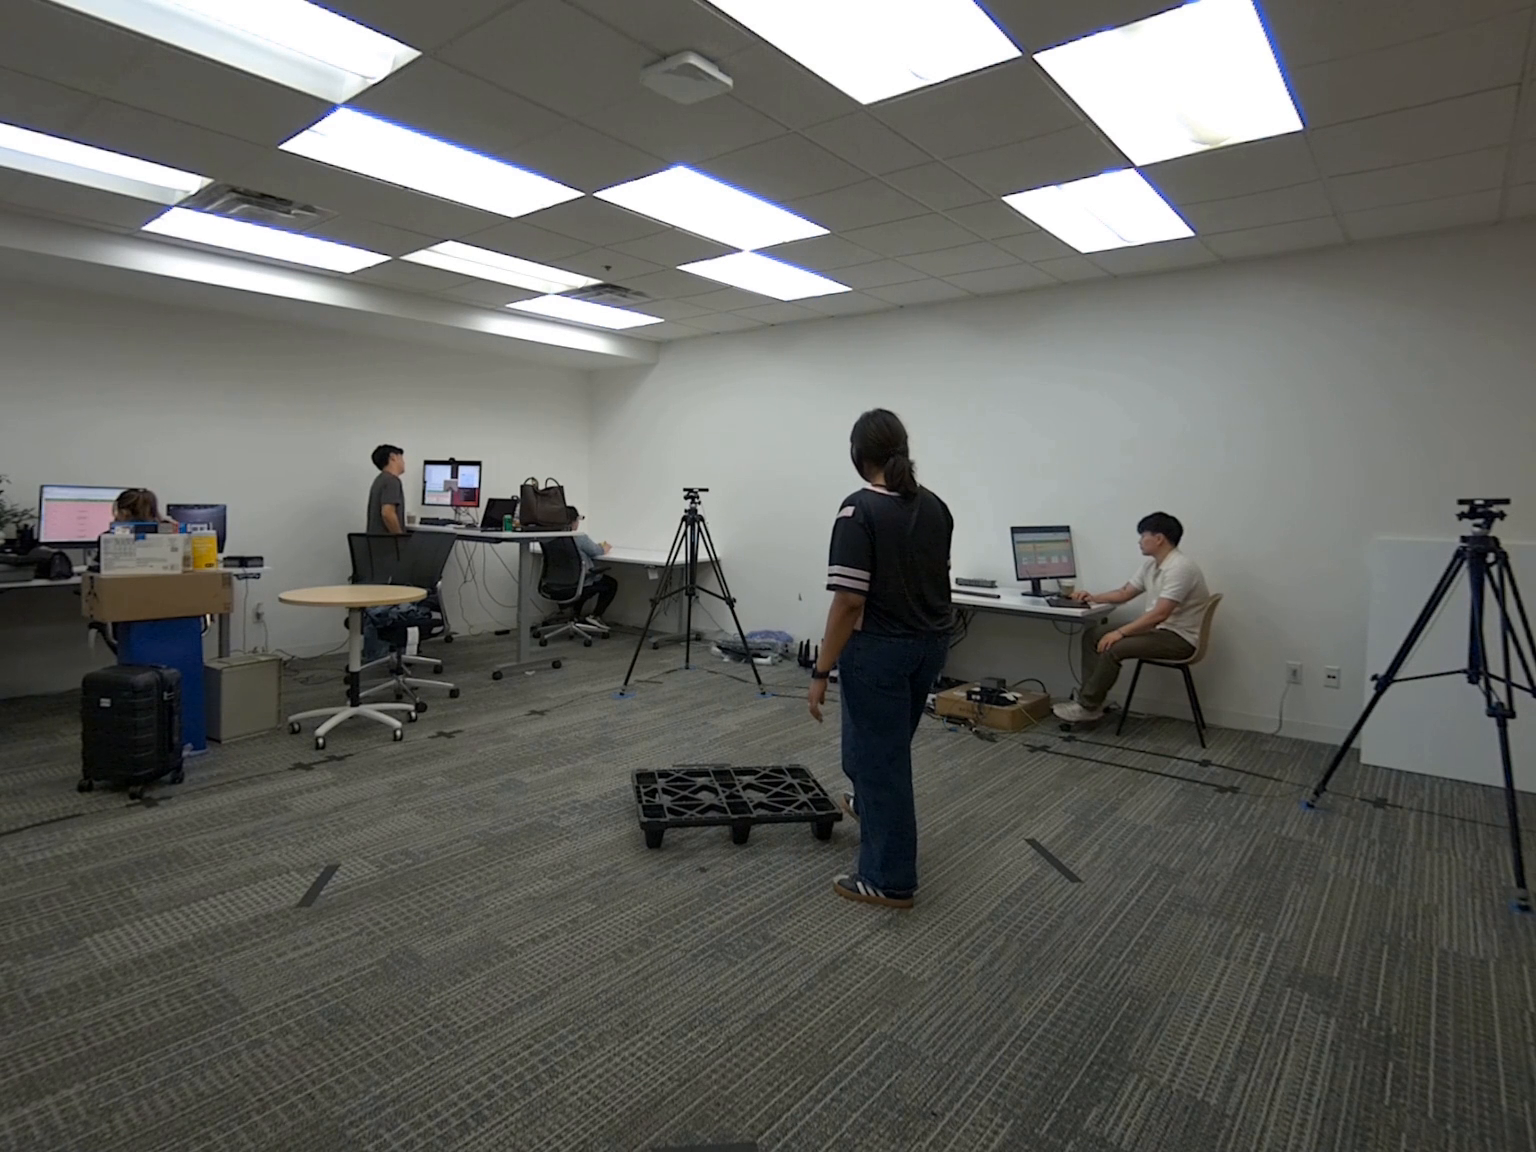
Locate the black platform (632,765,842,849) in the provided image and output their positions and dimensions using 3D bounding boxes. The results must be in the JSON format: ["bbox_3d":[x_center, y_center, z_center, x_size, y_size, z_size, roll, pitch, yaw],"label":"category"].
[{"bbox_3d":[-0.166,0.958,3.565,0.797,0.143,0.614,0,6,-10],"label":"black platform"}]
